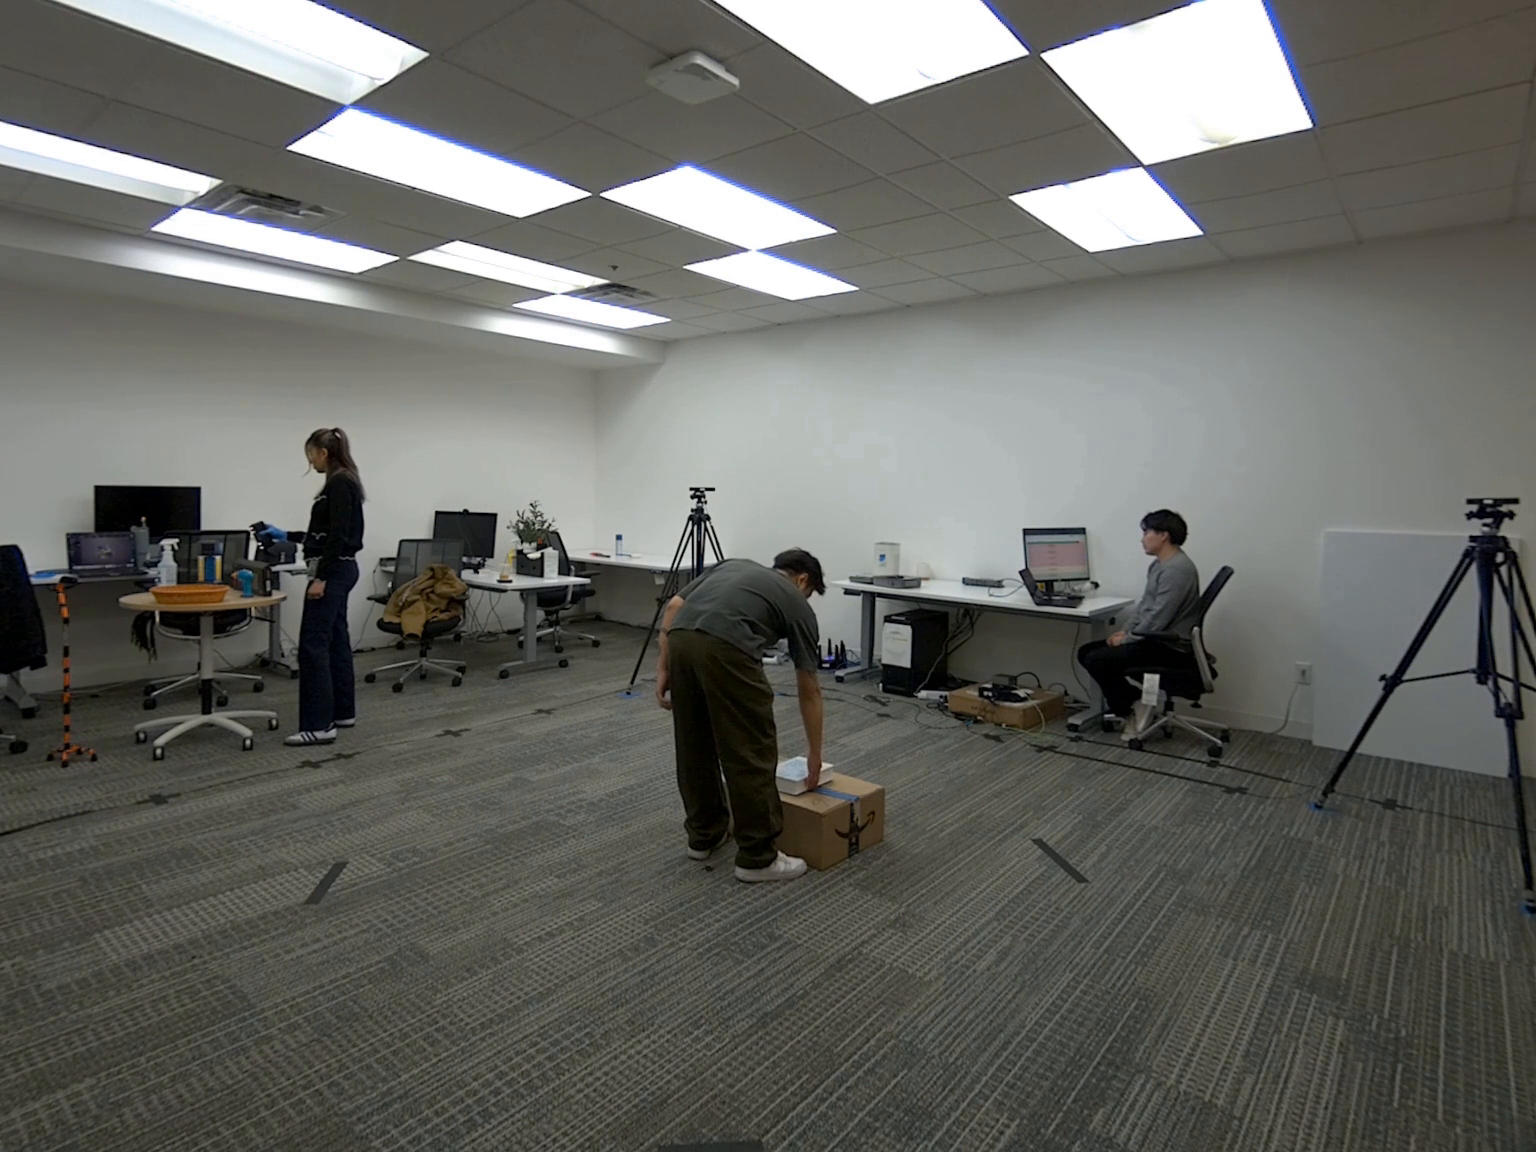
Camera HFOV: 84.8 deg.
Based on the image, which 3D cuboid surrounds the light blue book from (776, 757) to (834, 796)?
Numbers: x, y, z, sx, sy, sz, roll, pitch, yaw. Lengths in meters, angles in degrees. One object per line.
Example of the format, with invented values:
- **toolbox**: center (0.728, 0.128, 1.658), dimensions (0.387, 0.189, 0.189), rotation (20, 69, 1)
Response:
- **light blue book**: center (0.112, 0.799, 3.440), dimensions (0.198, 0.059, 0.253), rotation (5, 7, 39)
